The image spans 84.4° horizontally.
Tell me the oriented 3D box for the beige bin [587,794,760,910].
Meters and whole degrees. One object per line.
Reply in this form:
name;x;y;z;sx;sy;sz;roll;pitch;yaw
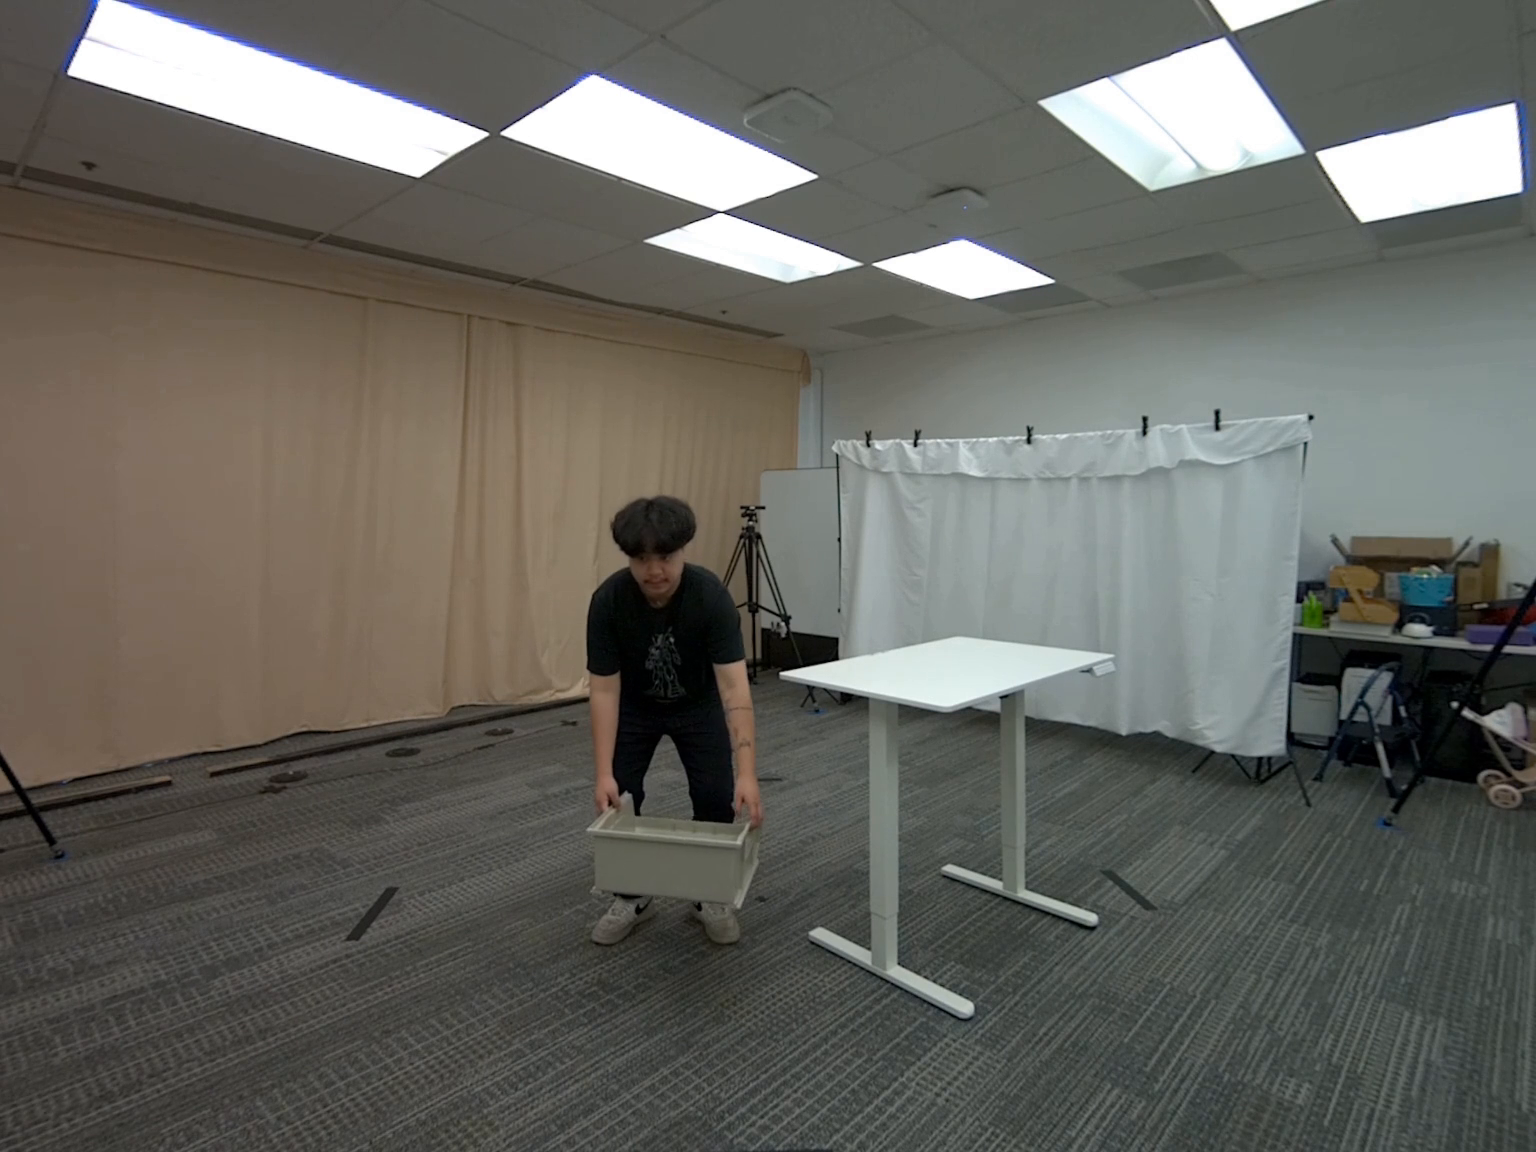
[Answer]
beige bin;-0.253;0.755;2.404;0.428;0.188;0.373;2;5;12
